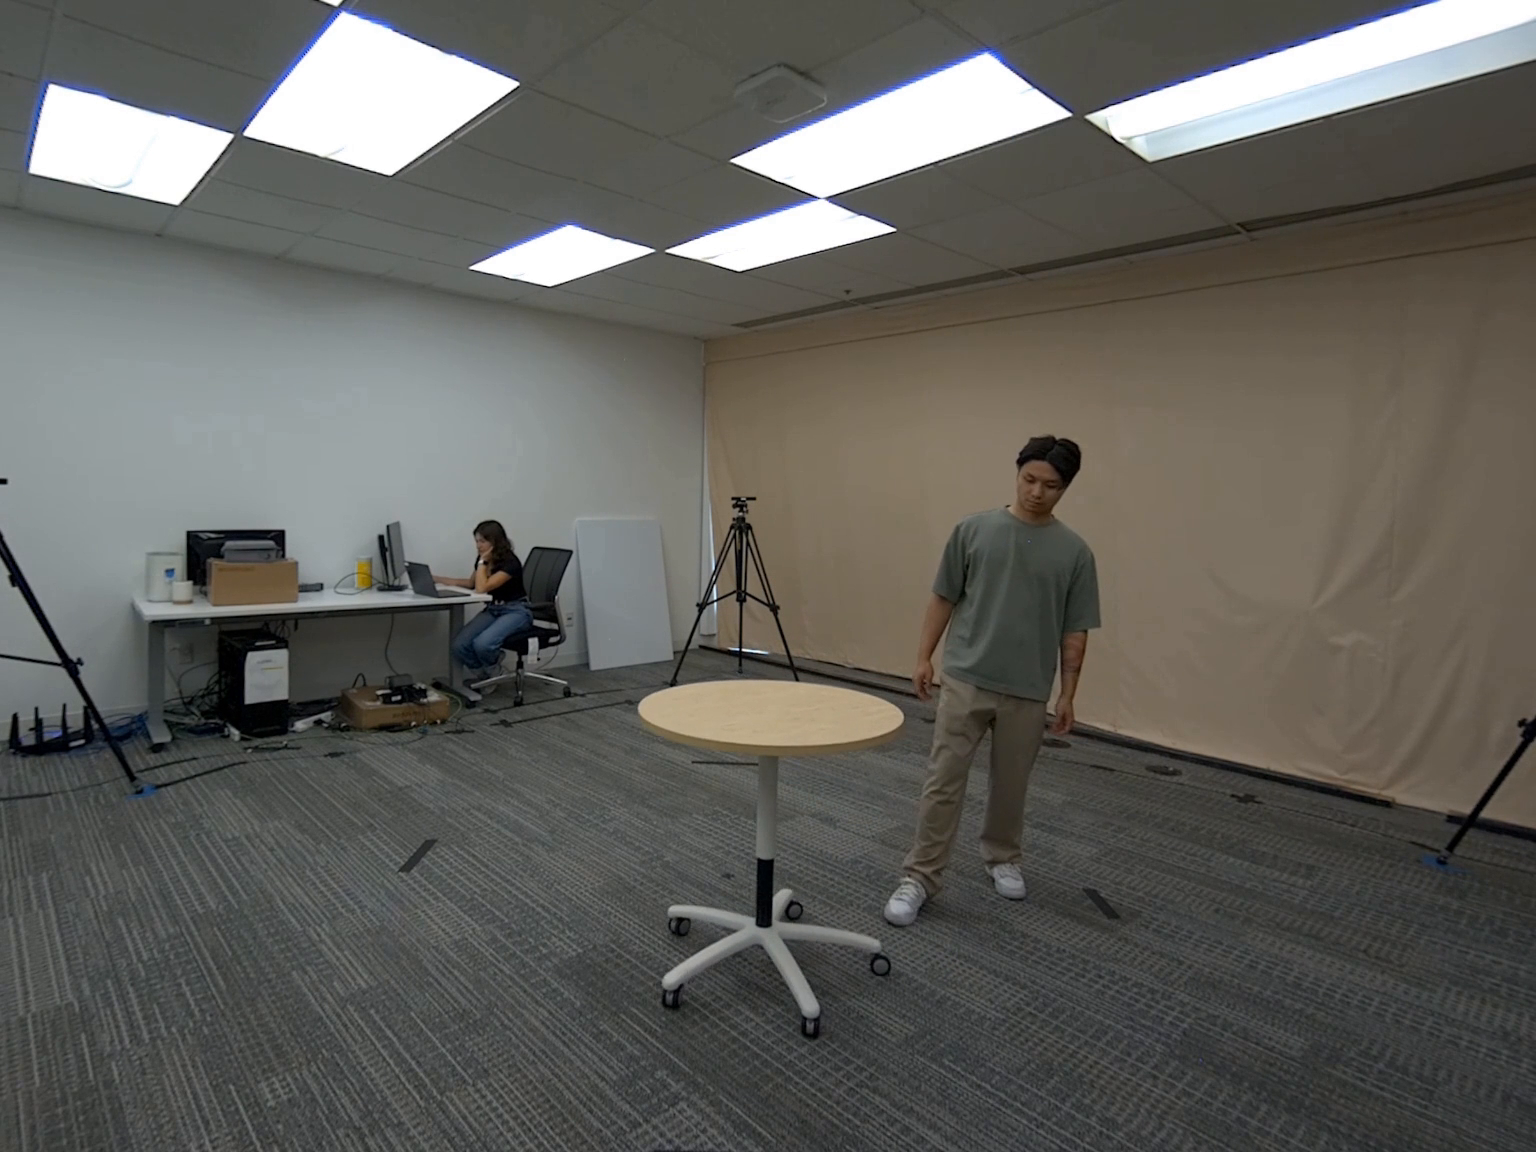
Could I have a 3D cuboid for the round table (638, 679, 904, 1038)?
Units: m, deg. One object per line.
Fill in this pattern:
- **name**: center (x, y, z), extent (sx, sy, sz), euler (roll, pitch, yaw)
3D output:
- **round table**: center (-0.017, 0.774, 2.484), extent (0.784, 0.784, 0.788), euler (1, 4, -1)
